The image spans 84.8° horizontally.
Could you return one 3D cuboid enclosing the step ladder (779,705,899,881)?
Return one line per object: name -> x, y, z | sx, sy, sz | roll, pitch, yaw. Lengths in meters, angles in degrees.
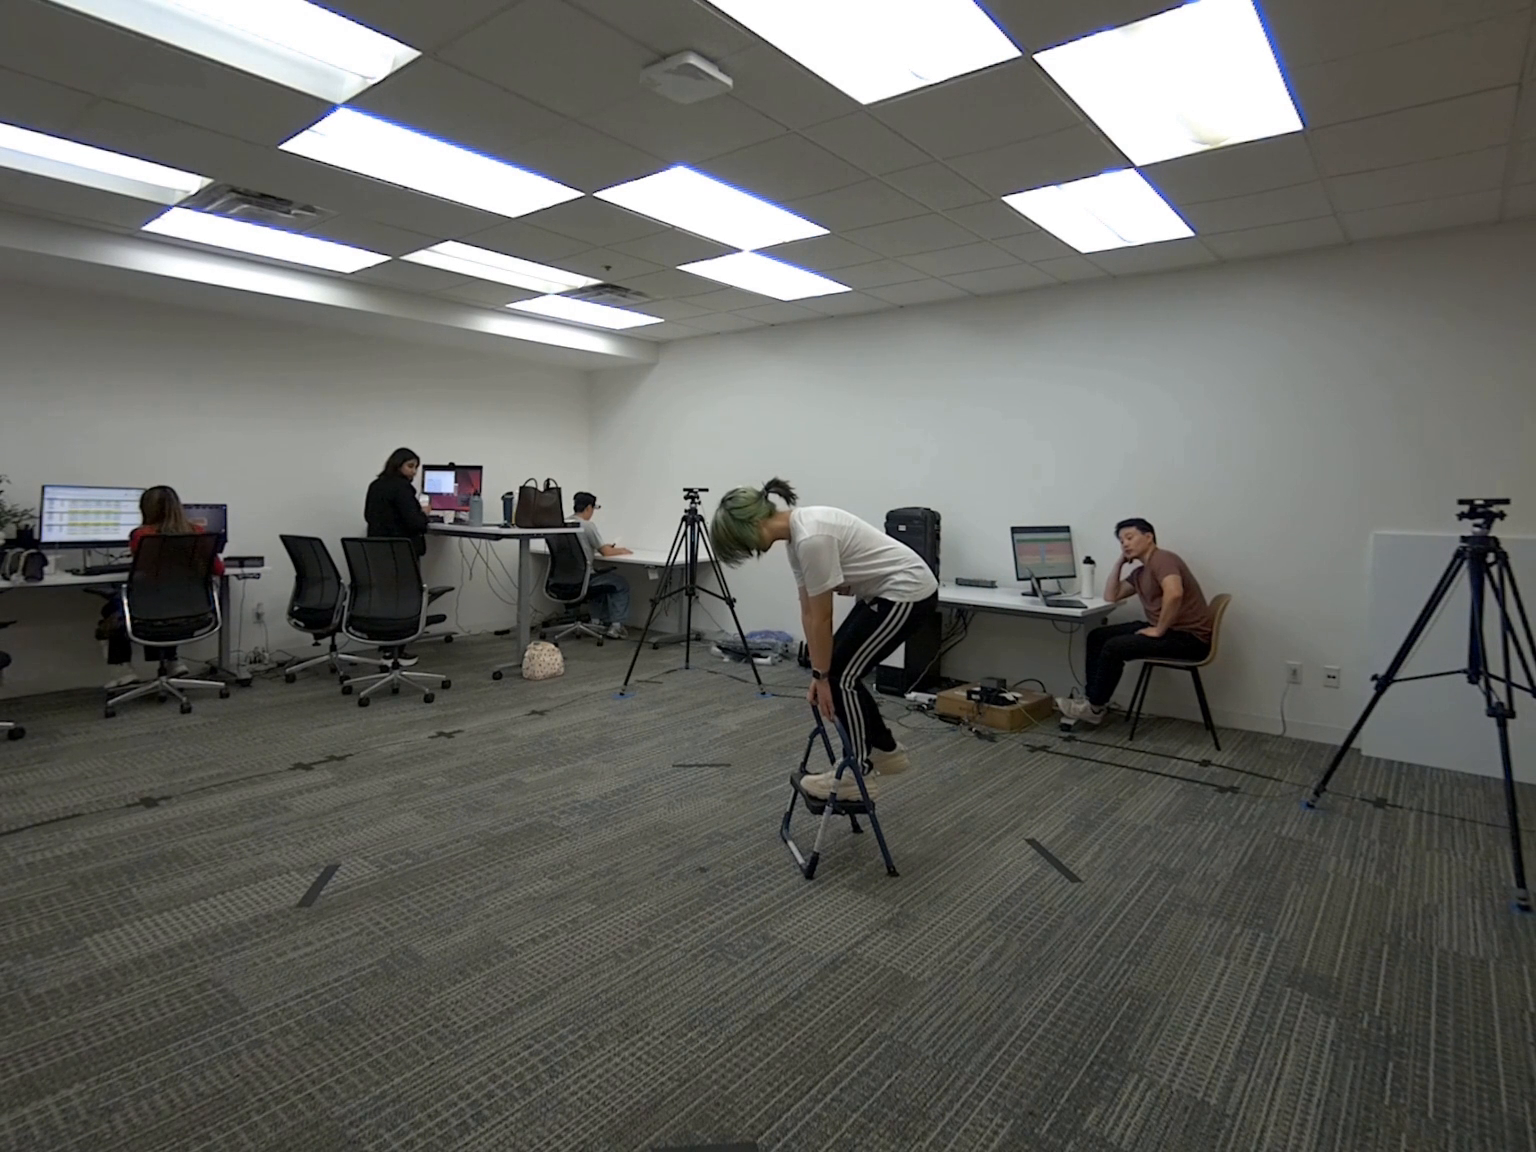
step ladder -> 0.260, 0.769, 3.257 | 0.345, 0.604, 0.437 | 1, 4, -12
